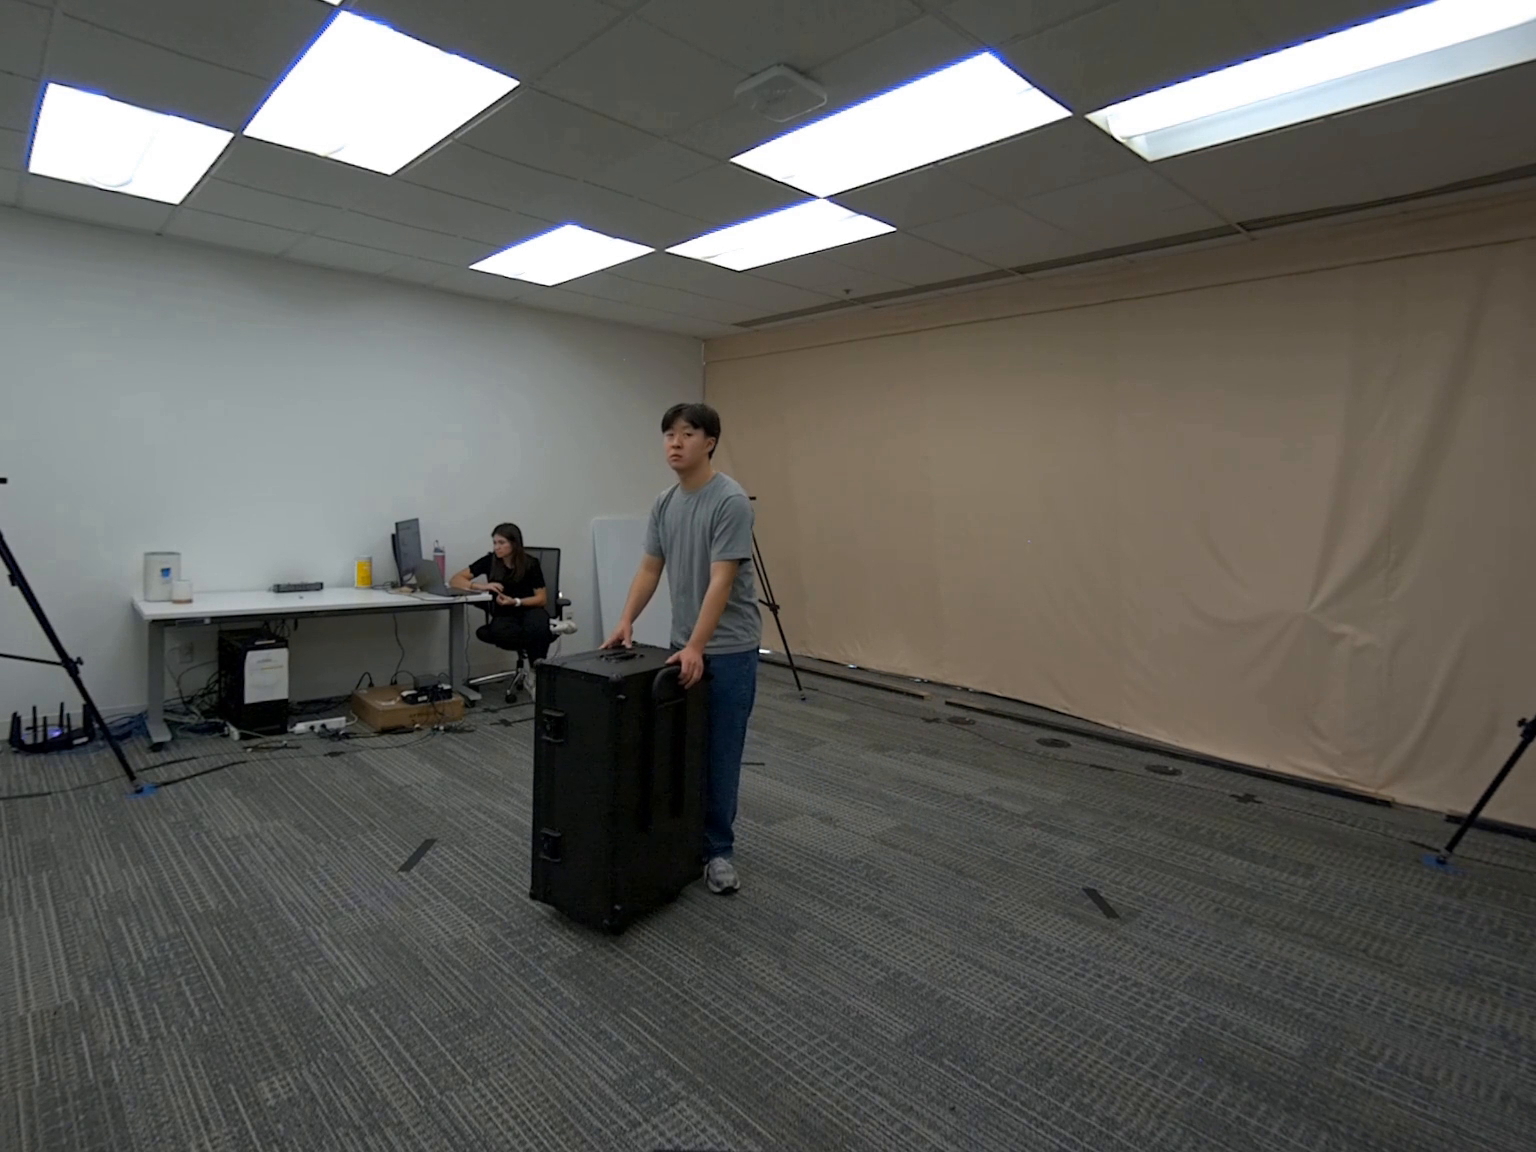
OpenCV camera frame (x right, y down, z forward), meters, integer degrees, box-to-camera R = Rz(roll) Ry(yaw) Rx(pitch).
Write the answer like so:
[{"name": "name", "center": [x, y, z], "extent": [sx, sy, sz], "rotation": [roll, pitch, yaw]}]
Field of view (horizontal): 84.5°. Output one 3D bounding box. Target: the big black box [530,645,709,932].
[{"name": "big black box", "center": [-0.491, 0.707, 2.818], "extent": [0.405, 0.859, 0.510], "rotation": [5, 5, 32]}]
